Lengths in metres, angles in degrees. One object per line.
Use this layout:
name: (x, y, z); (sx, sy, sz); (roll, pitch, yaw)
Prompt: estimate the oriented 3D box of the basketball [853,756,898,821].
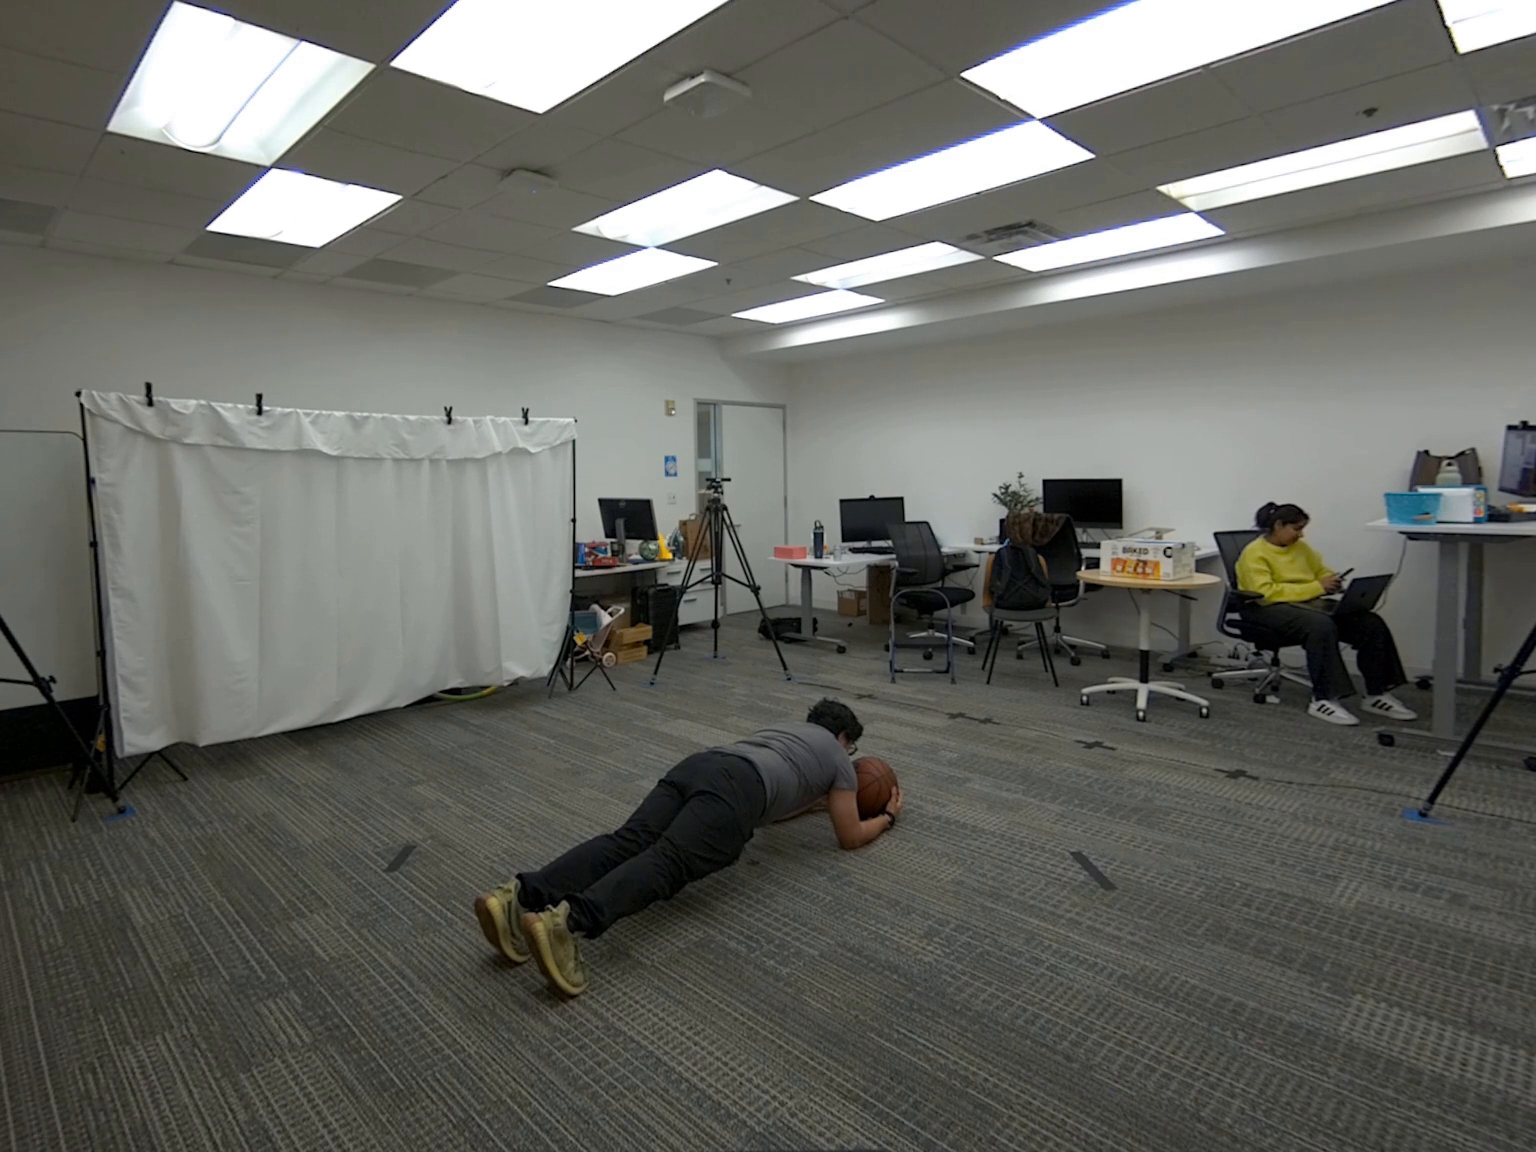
basketball: (0.412, 0.864, 3.512); (0.236, 0.235, 0.237); (-1, 5, -2)
